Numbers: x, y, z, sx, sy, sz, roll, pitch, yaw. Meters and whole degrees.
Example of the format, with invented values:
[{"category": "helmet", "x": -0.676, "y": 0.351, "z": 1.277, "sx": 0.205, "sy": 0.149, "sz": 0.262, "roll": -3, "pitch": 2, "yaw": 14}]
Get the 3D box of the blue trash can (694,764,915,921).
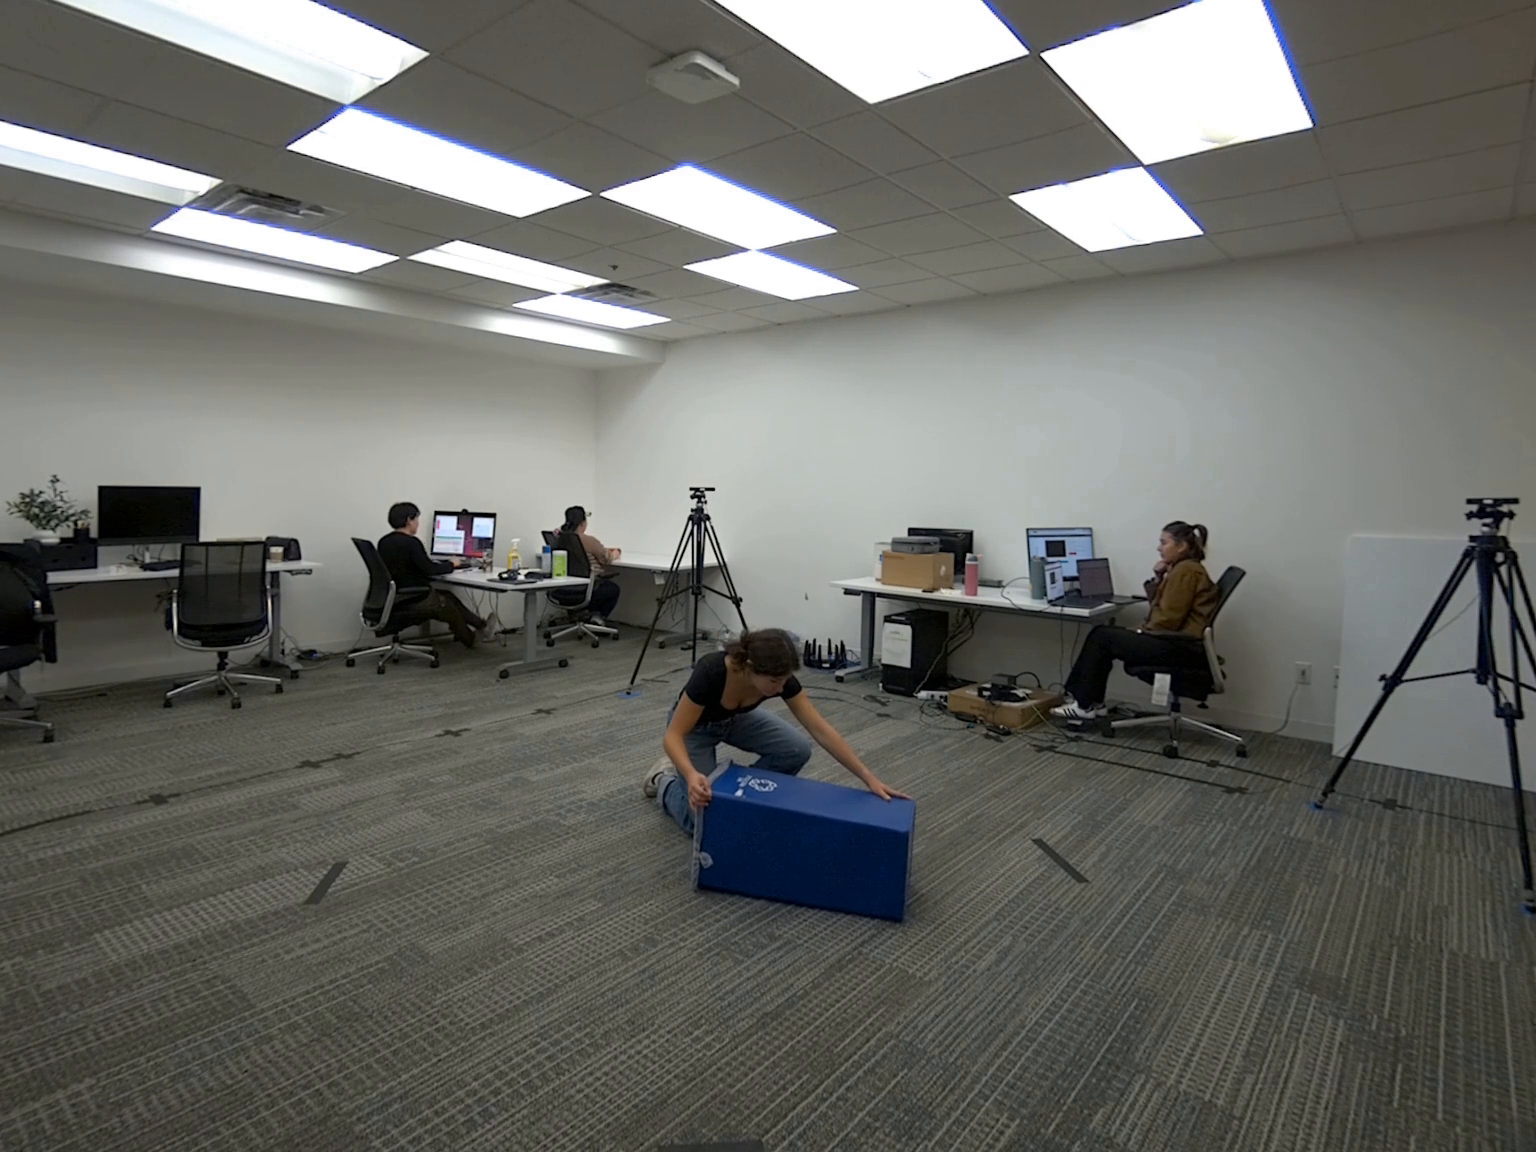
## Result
[{"category": "blue trash can", "x": 0.125, "y": 0.918, "z": 2.978, "sx": 0.726, "sy": 0.377, "sz": 0.368, "roll": 6, "pitch": 4, "yaw": 15}]
